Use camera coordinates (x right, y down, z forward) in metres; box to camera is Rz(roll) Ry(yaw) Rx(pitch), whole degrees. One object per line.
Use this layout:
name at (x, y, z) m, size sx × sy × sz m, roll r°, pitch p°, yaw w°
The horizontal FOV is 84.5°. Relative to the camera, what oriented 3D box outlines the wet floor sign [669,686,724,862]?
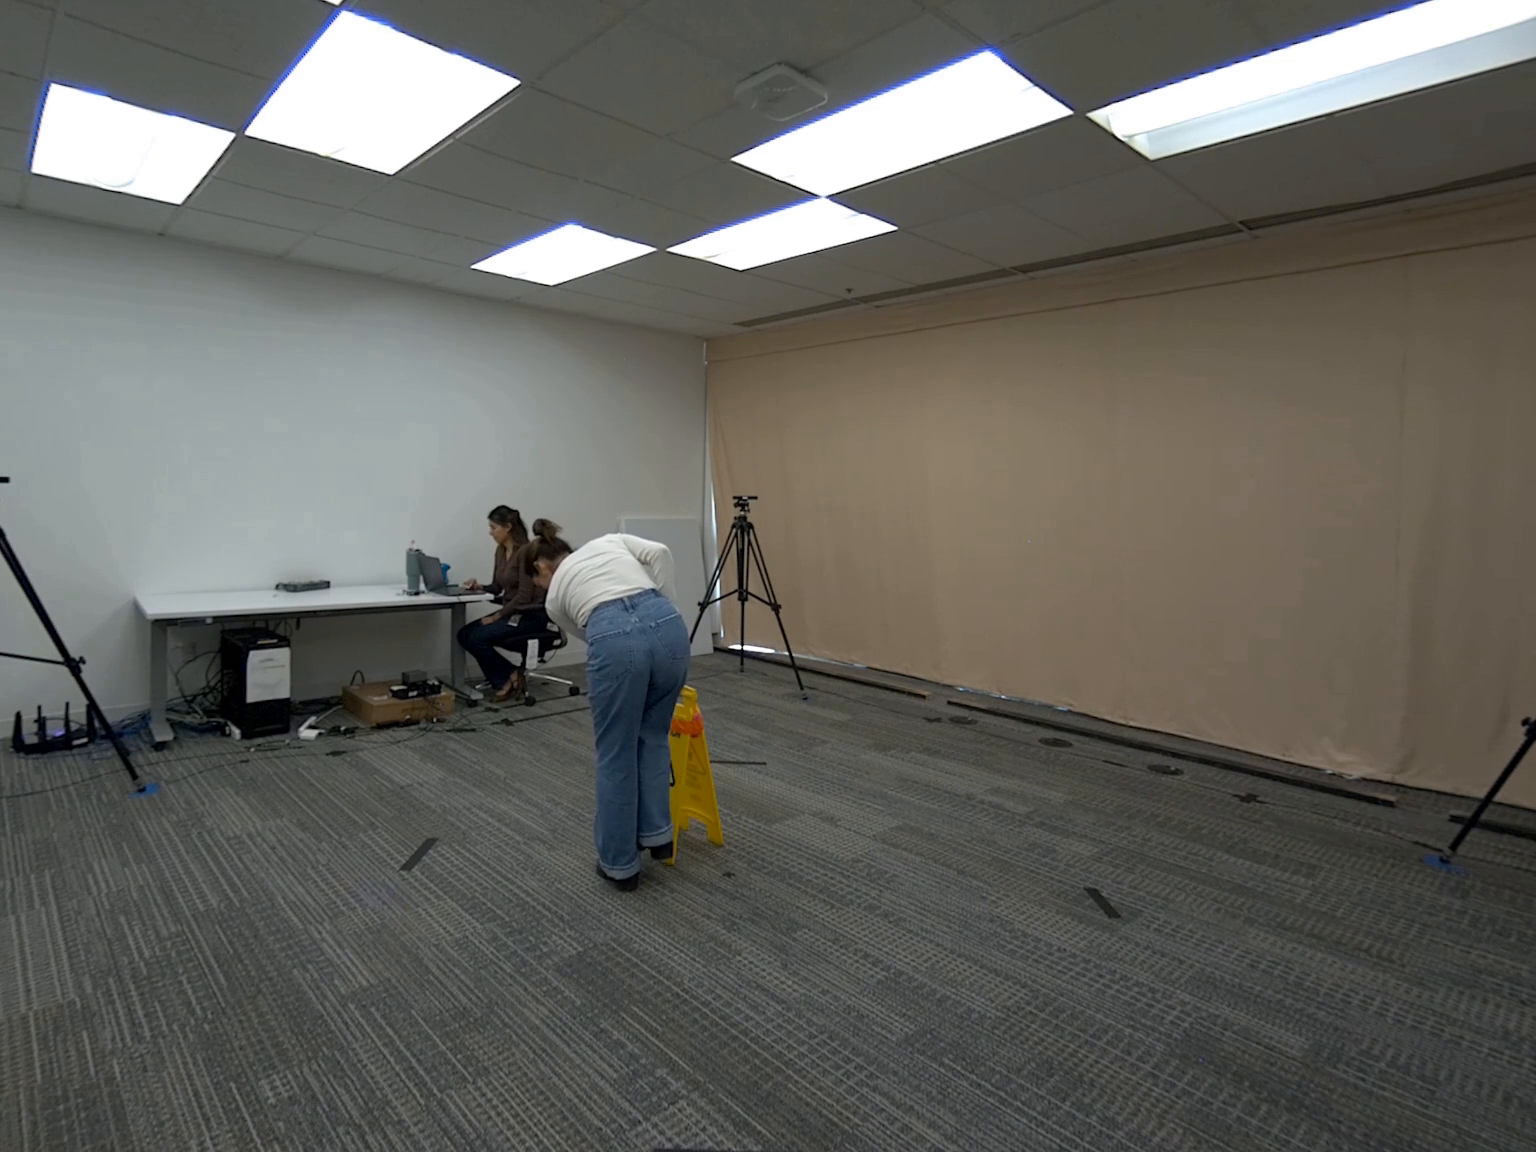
wet floor sign at (-0.369, 0.753, 3.350) m, size 0.289 × 0.644 × 0.283 m, roll 5°, pitch 4°, yaw 43°
